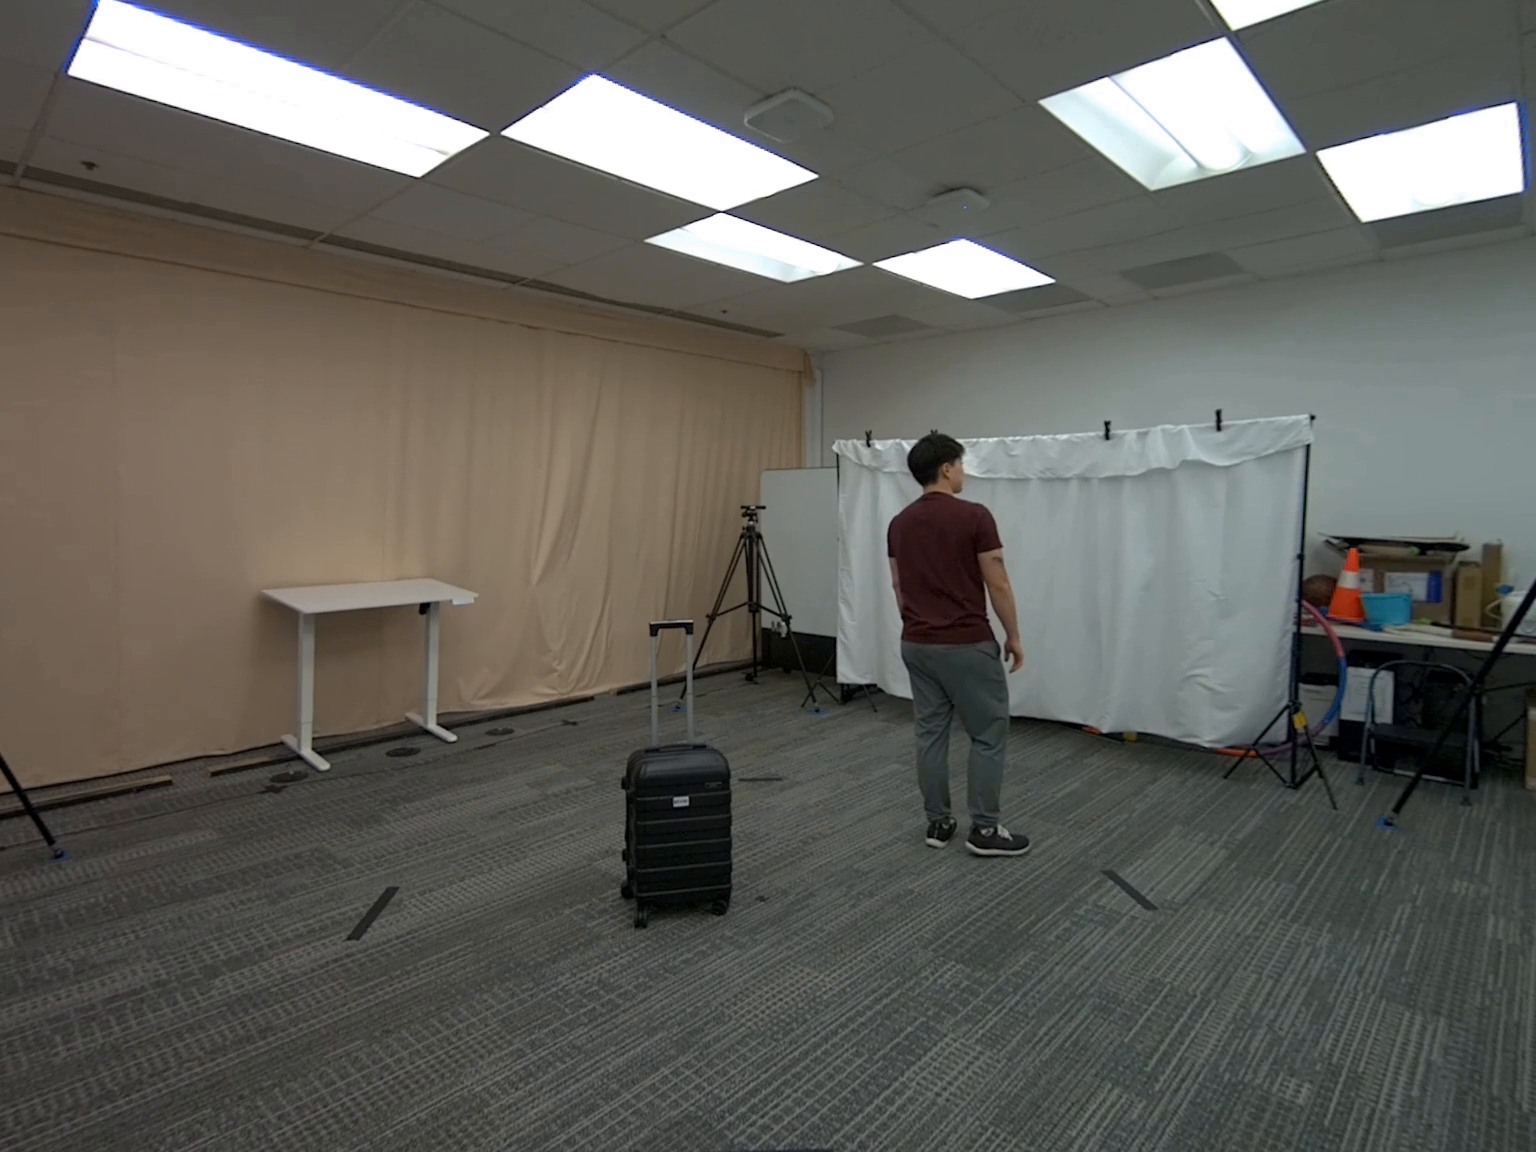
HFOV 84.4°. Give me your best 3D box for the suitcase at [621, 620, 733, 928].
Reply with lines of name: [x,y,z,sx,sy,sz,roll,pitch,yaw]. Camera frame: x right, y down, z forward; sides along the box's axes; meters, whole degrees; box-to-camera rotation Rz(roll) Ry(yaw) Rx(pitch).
suitcase: [-0.311,0.670,2.920,0.379,0.975,0.261,-1,5,-12]
